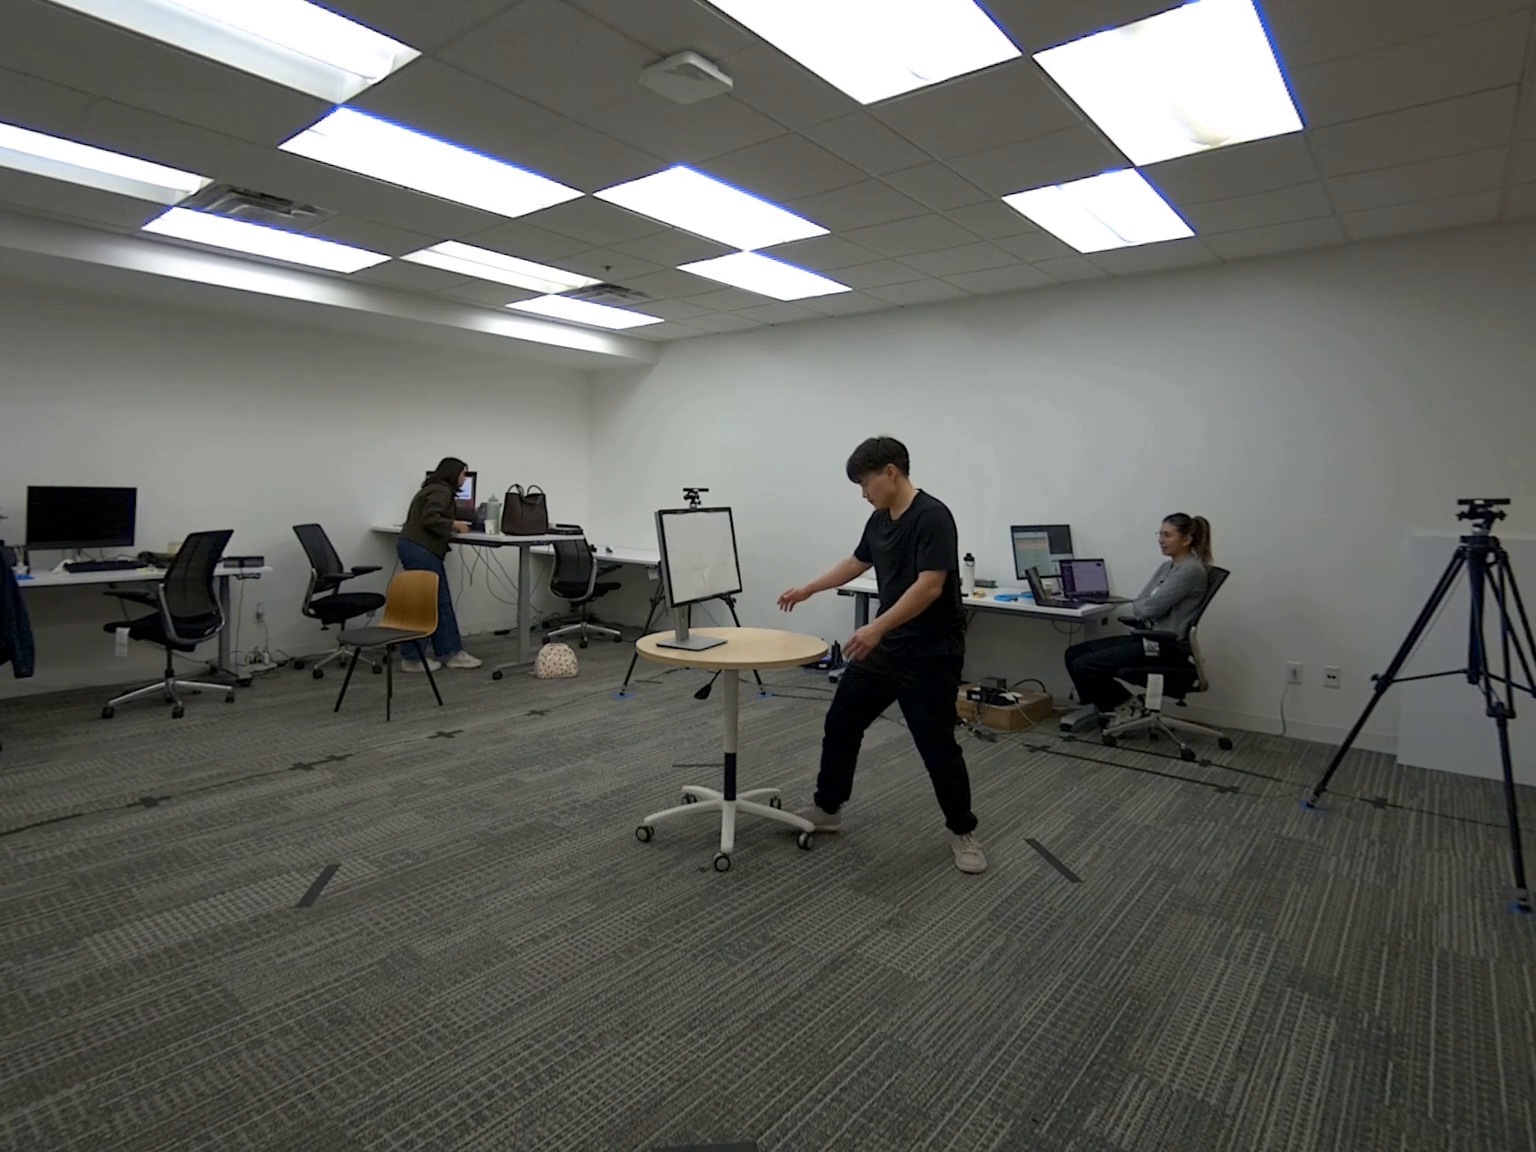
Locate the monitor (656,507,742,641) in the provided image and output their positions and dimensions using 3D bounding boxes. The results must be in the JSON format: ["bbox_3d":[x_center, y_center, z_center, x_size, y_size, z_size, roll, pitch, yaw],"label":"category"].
[{"bbox_3d":[-0.307,0.007,3.368,0.192,0.520,0.527,5,6,25],"label":"monitor"}]
